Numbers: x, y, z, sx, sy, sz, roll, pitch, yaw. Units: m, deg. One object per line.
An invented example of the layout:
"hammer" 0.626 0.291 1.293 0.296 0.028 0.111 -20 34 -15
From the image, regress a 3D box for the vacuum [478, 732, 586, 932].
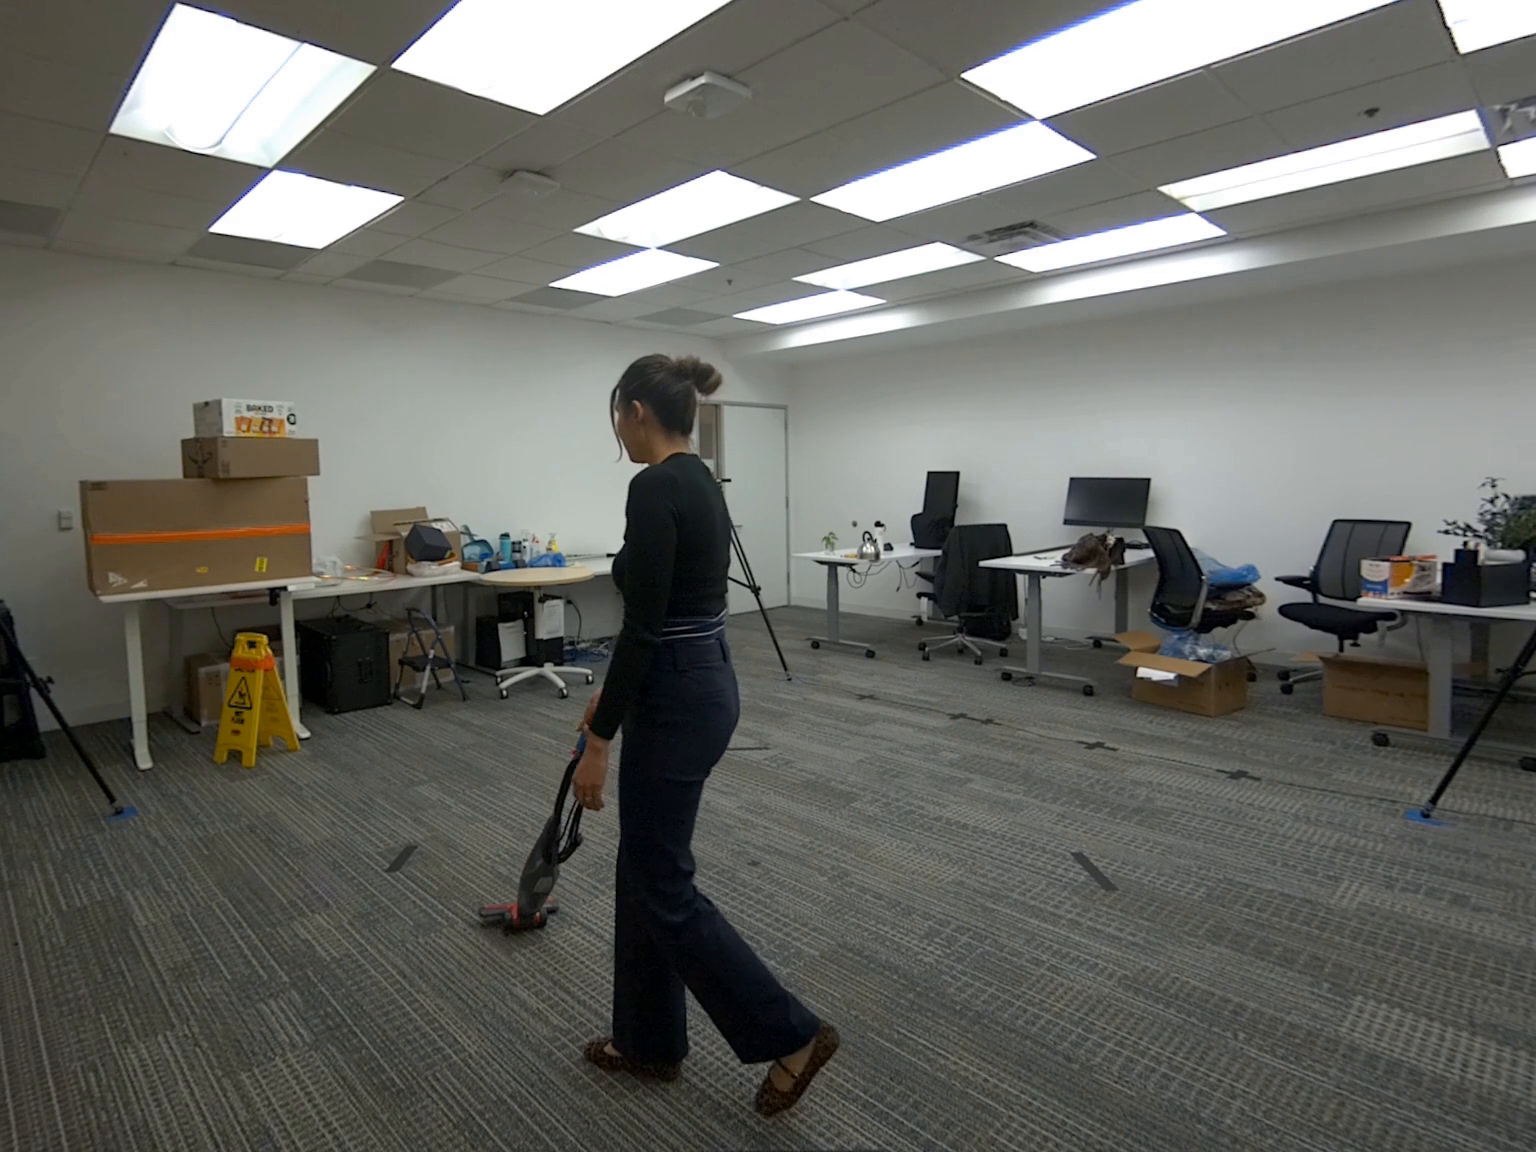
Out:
"vacuum" -0.599 0.736 2.414 0.246 1.037 0.149 -4 48 -34
